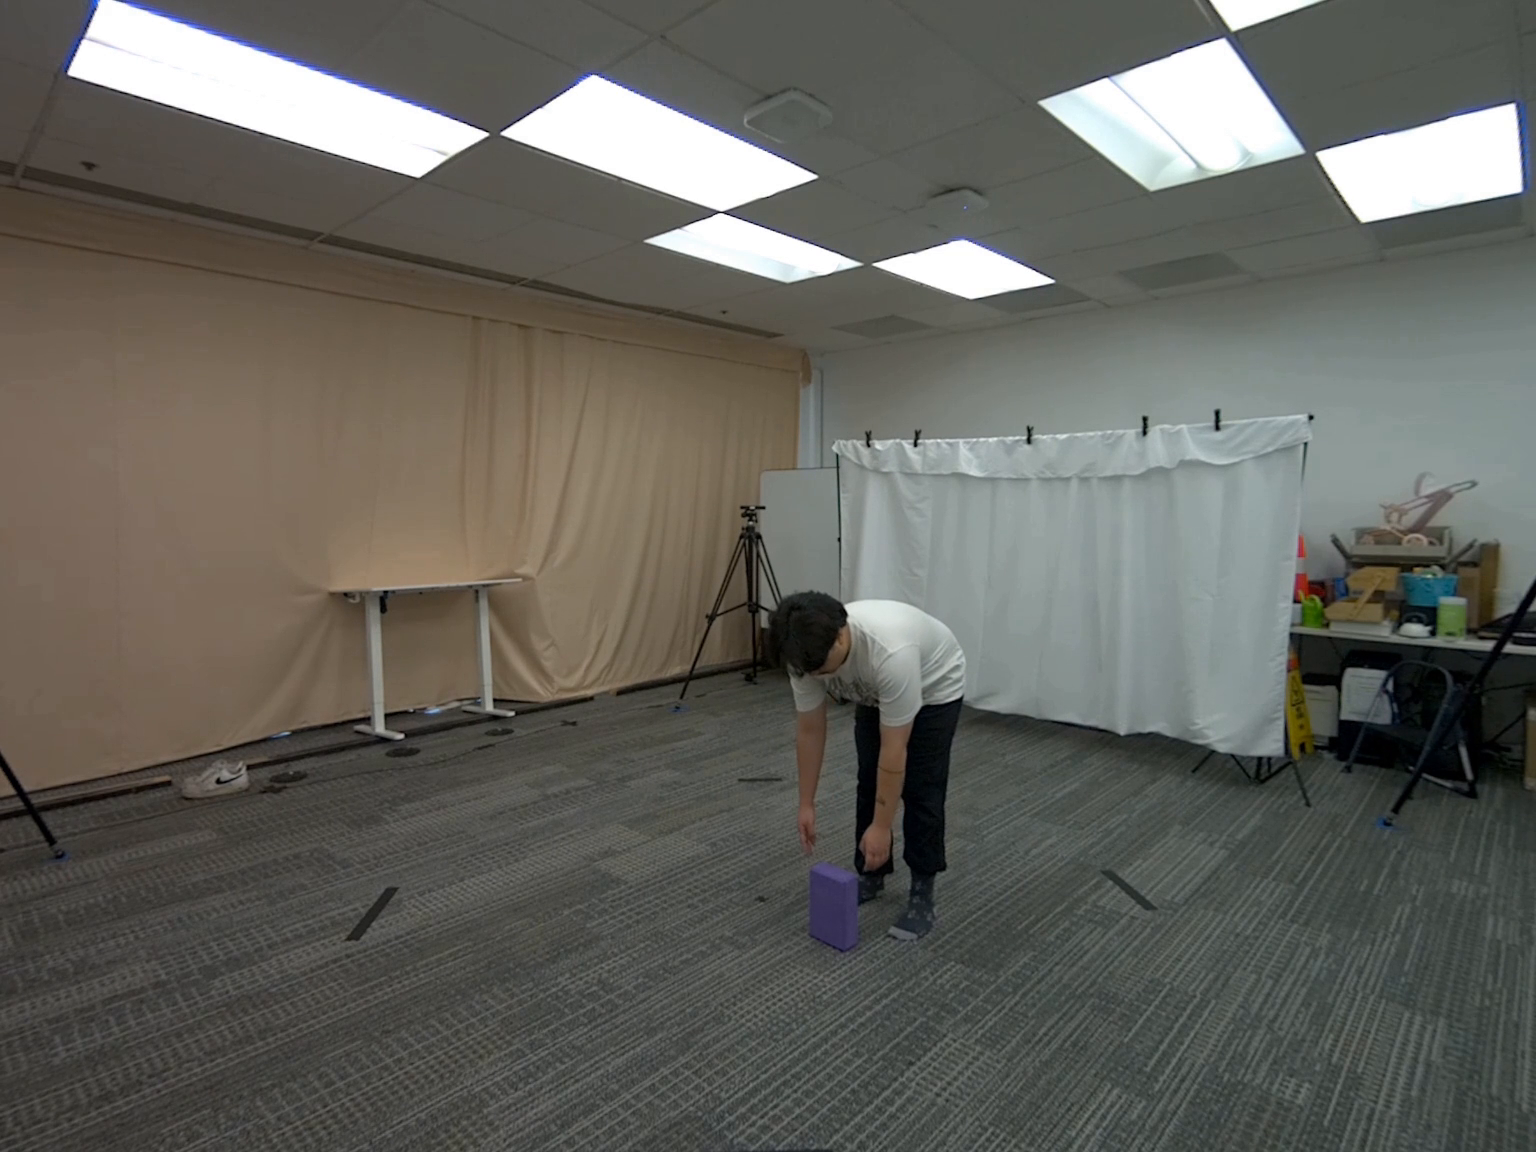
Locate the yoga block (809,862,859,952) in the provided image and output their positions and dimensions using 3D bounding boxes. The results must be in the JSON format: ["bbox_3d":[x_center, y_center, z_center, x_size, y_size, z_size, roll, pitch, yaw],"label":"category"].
[{"bbox_3d":[0.214,1.053,2.687,0.154,0.229,0.074,5,5,43],"label":"yoga block"}]
